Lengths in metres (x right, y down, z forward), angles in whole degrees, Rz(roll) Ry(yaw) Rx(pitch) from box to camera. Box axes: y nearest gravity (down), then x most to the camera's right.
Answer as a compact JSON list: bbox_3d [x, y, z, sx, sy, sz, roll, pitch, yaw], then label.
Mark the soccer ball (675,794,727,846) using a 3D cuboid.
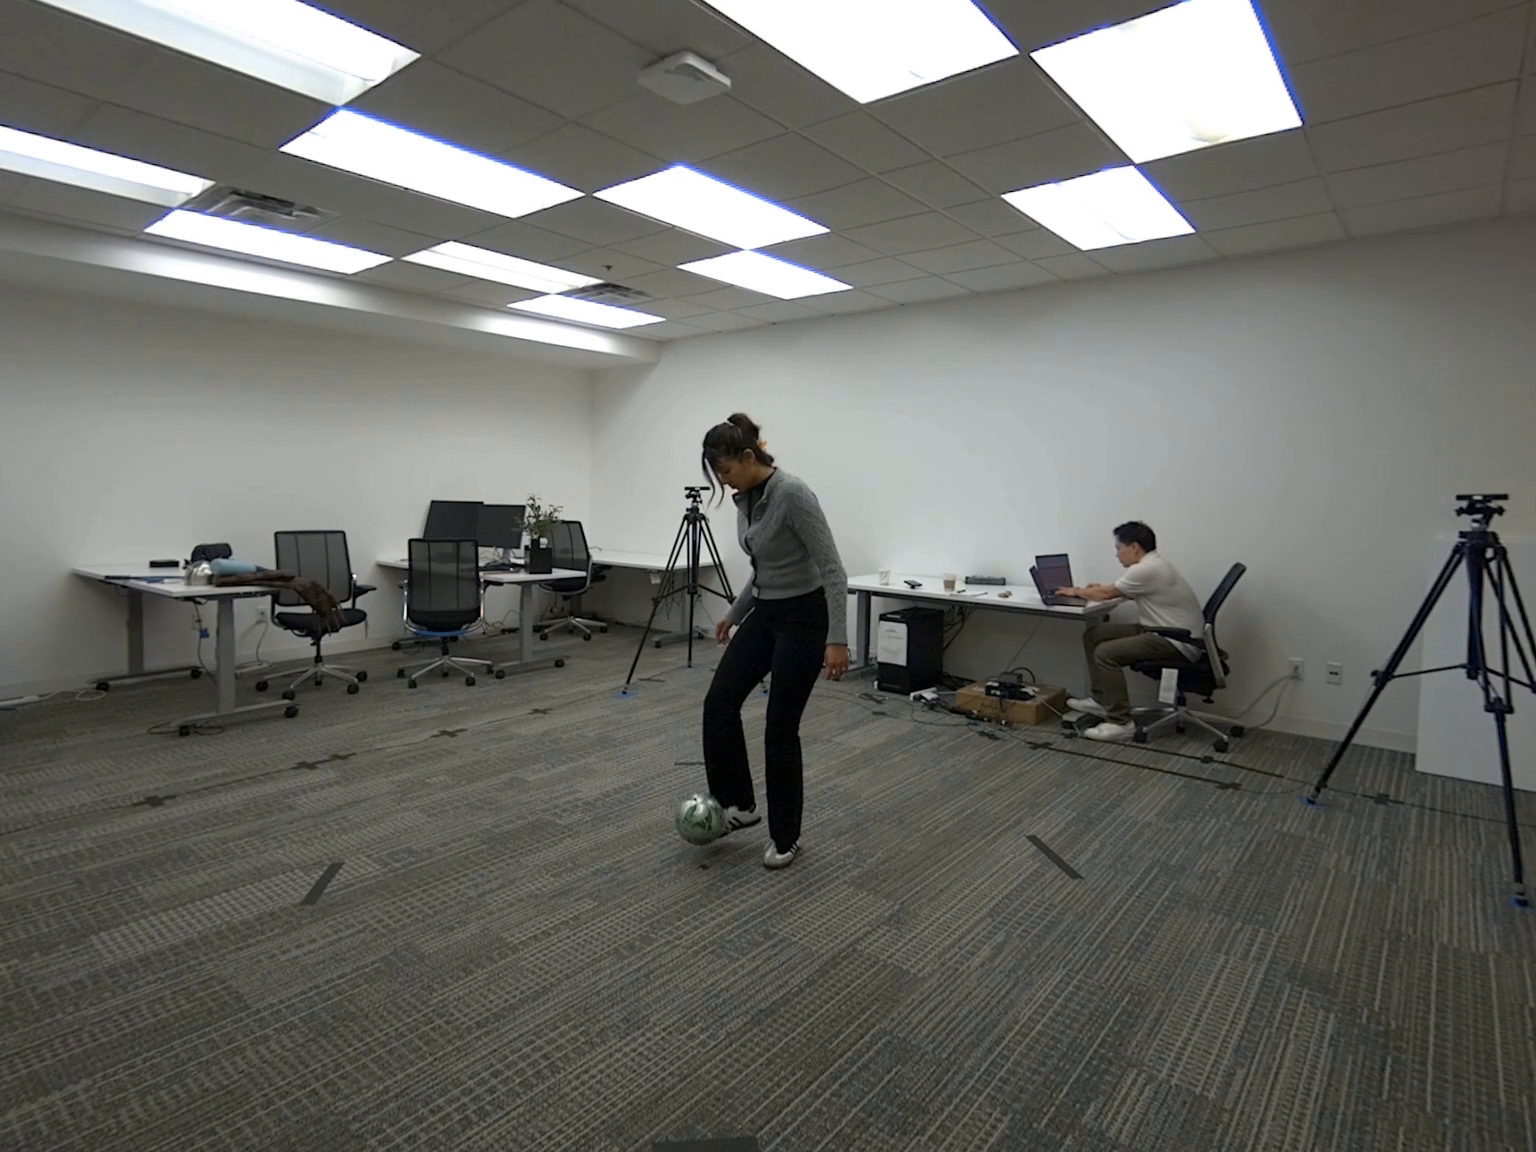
[{"bbox_3d":[-0.283,0.923,3.174,0.187,0.187,0.188,1,4,-2],"label":"soccer ball"}]
